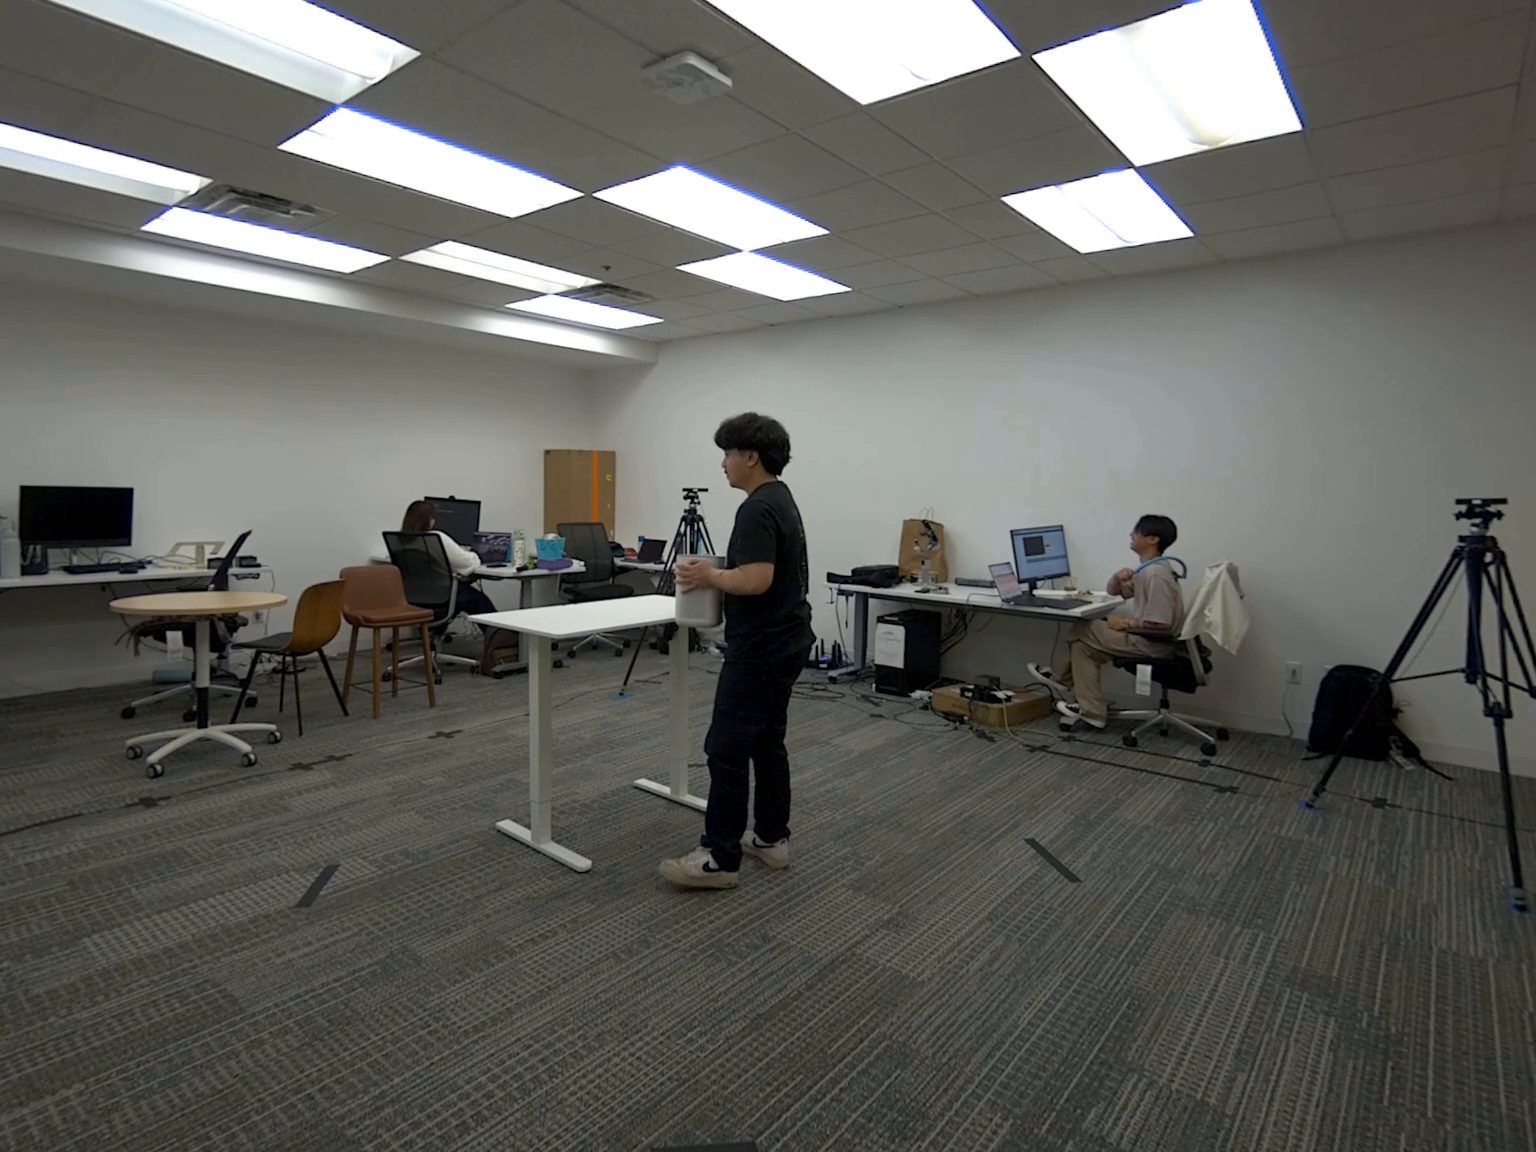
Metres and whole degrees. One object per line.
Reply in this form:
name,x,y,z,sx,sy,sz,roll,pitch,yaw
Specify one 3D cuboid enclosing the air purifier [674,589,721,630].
air purifier,-0.263,0.055,3.182,0.173,0.266,0.169,1,-2,9
